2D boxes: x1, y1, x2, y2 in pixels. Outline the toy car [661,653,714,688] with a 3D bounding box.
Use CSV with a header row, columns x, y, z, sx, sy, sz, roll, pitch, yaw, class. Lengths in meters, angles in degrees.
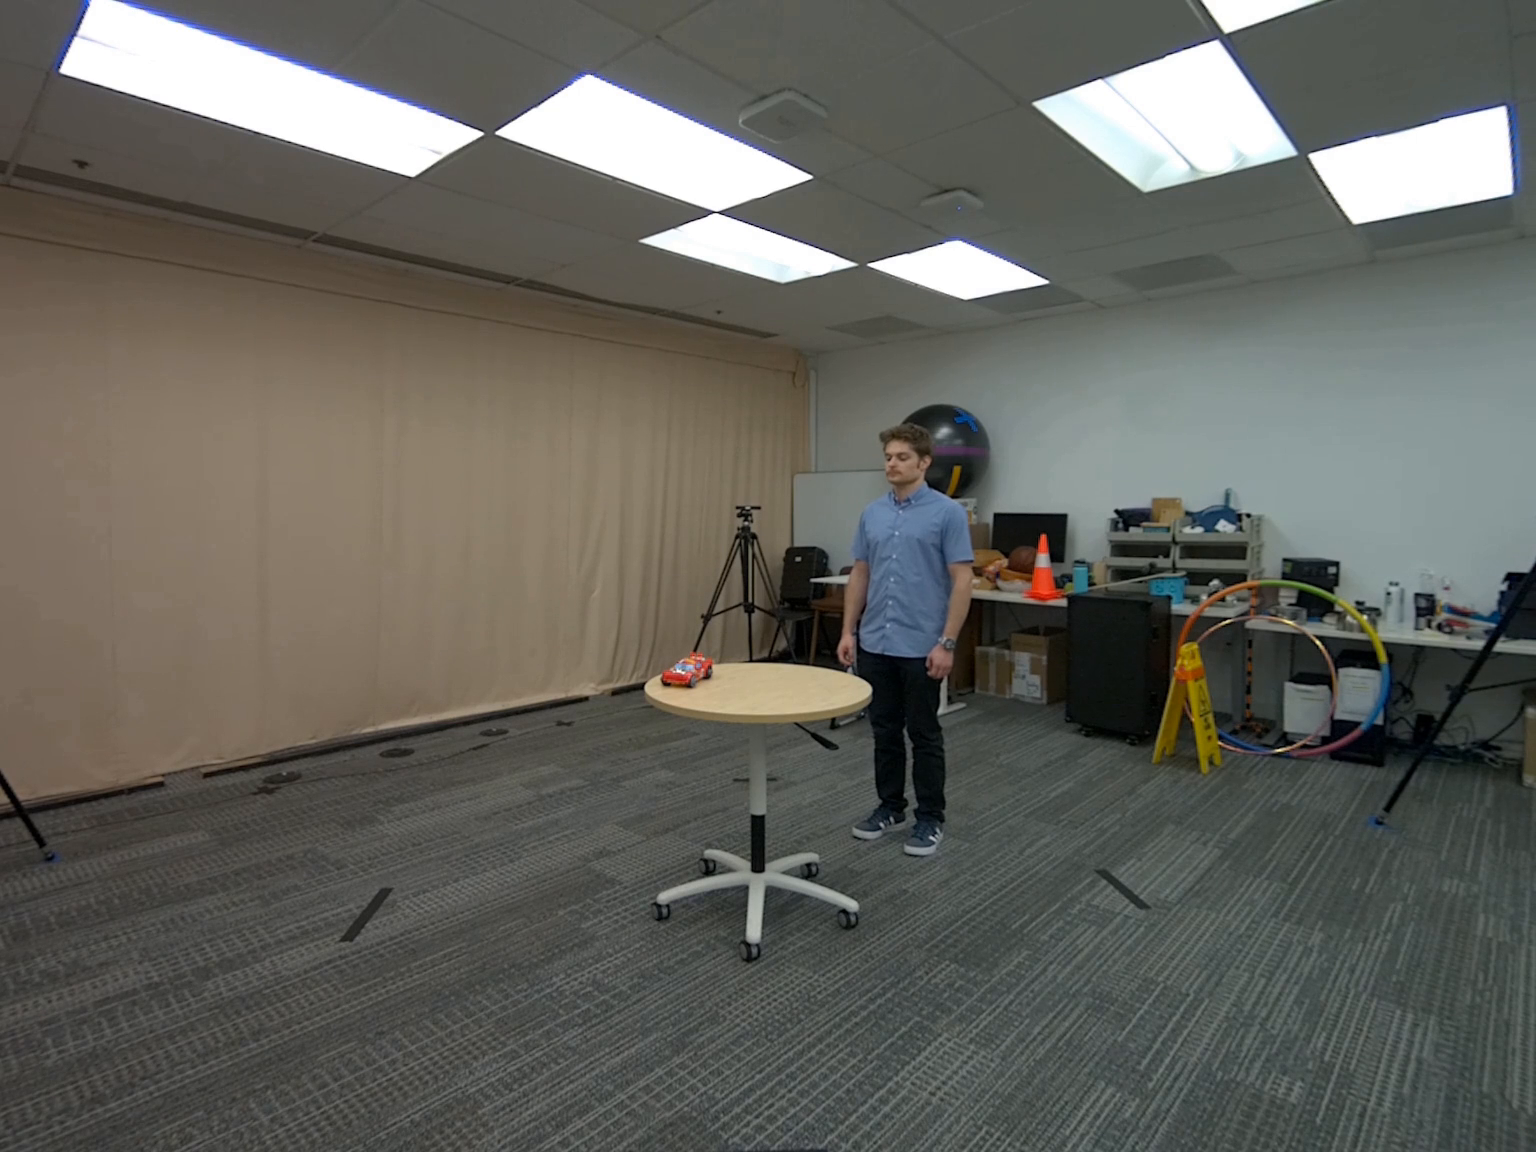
x,y,z,sx,sy,sz,roll,pitch,yaw,class
-0.265,0.335,2.926,0.133,0.082,0.252,1,16,19,toy car
